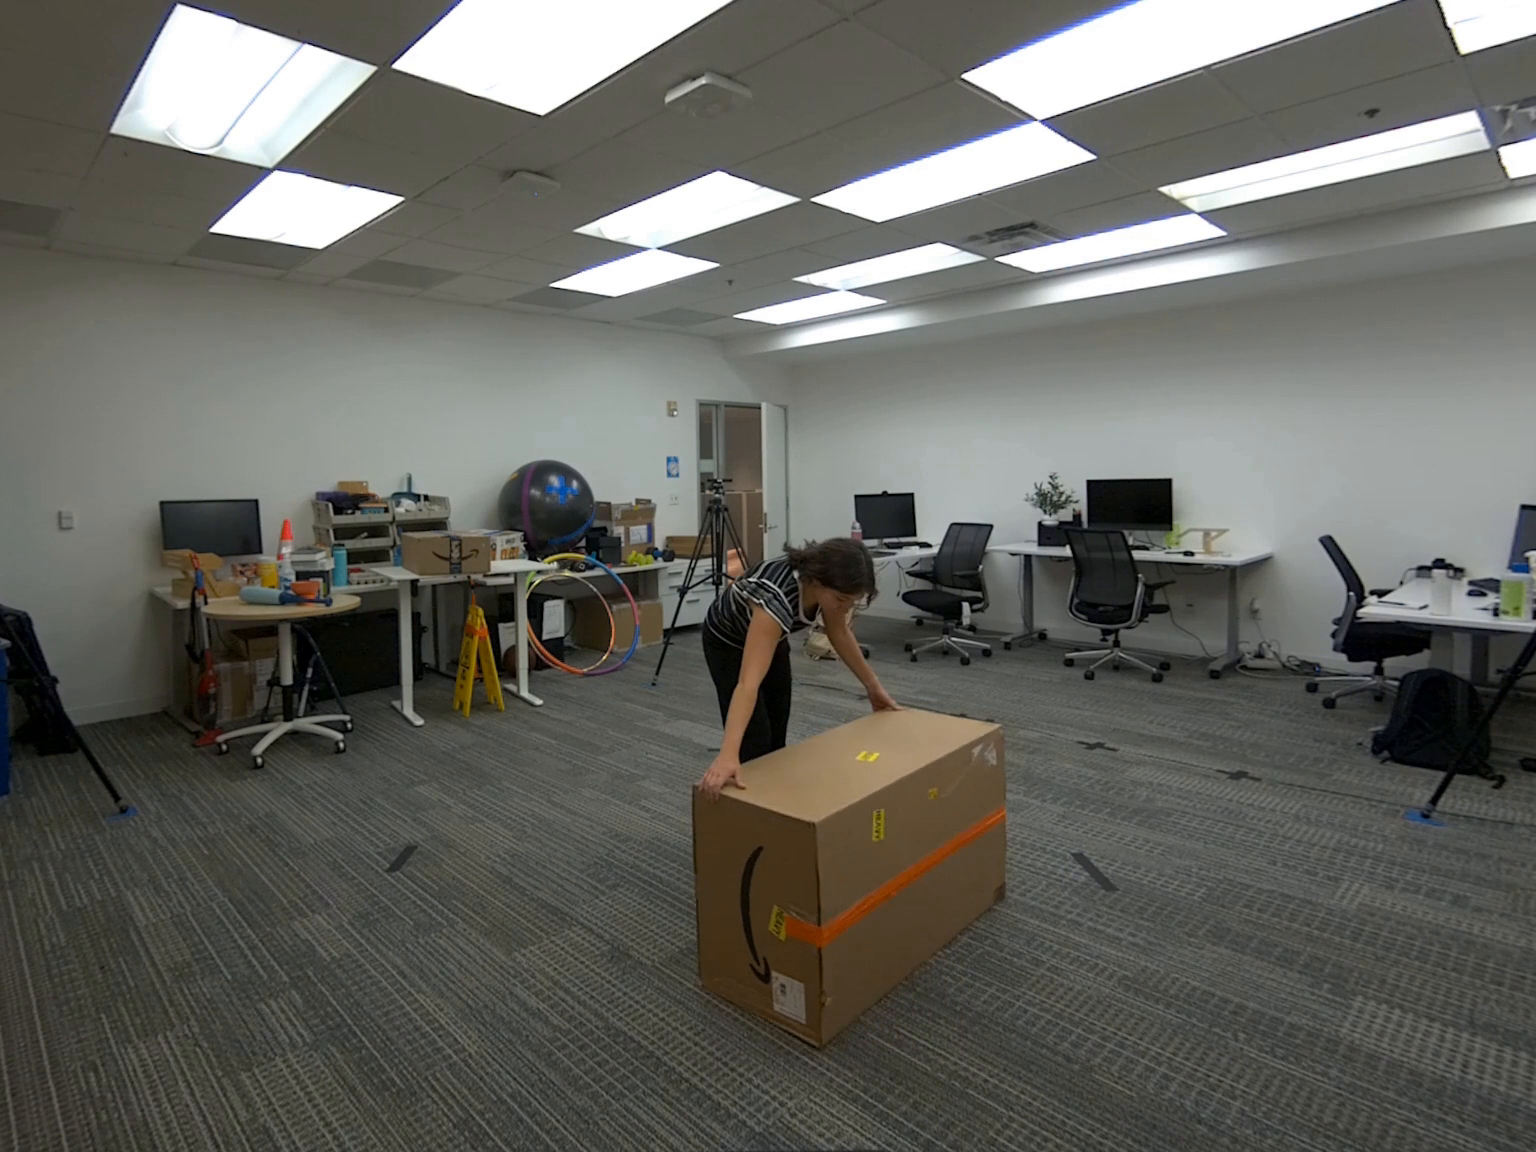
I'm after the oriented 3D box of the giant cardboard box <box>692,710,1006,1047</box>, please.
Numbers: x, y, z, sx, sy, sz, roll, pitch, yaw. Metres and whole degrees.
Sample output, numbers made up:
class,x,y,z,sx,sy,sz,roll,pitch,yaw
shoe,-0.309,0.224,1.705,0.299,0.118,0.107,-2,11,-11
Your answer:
class,x,y,z,sx,sy,sz,roll,pitch,yaw
giant cardboard box,0.288,0.810,2.571,0.439,0.575,1.000,3,7,42
